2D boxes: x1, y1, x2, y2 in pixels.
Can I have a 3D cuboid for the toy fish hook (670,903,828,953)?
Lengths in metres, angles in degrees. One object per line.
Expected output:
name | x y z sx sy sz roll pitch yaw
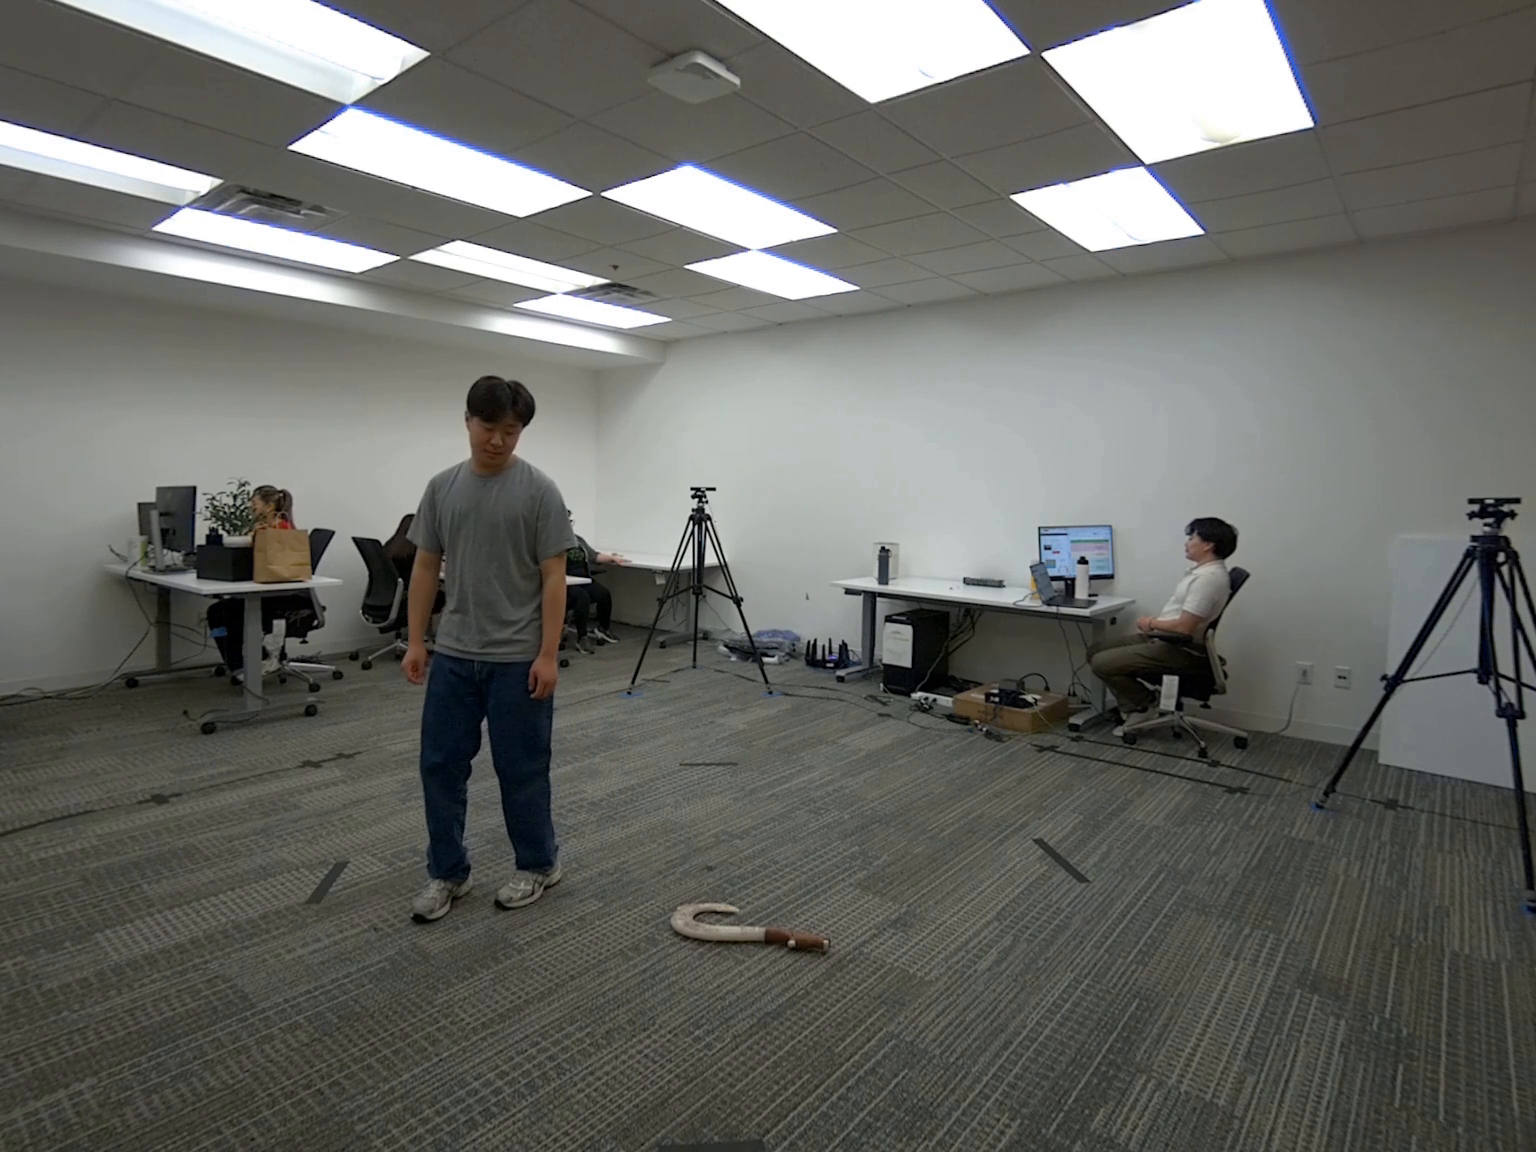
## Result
toy fish hook | -0.060 1.089 2.663 0.514 0.048 0.222 3 6 13
